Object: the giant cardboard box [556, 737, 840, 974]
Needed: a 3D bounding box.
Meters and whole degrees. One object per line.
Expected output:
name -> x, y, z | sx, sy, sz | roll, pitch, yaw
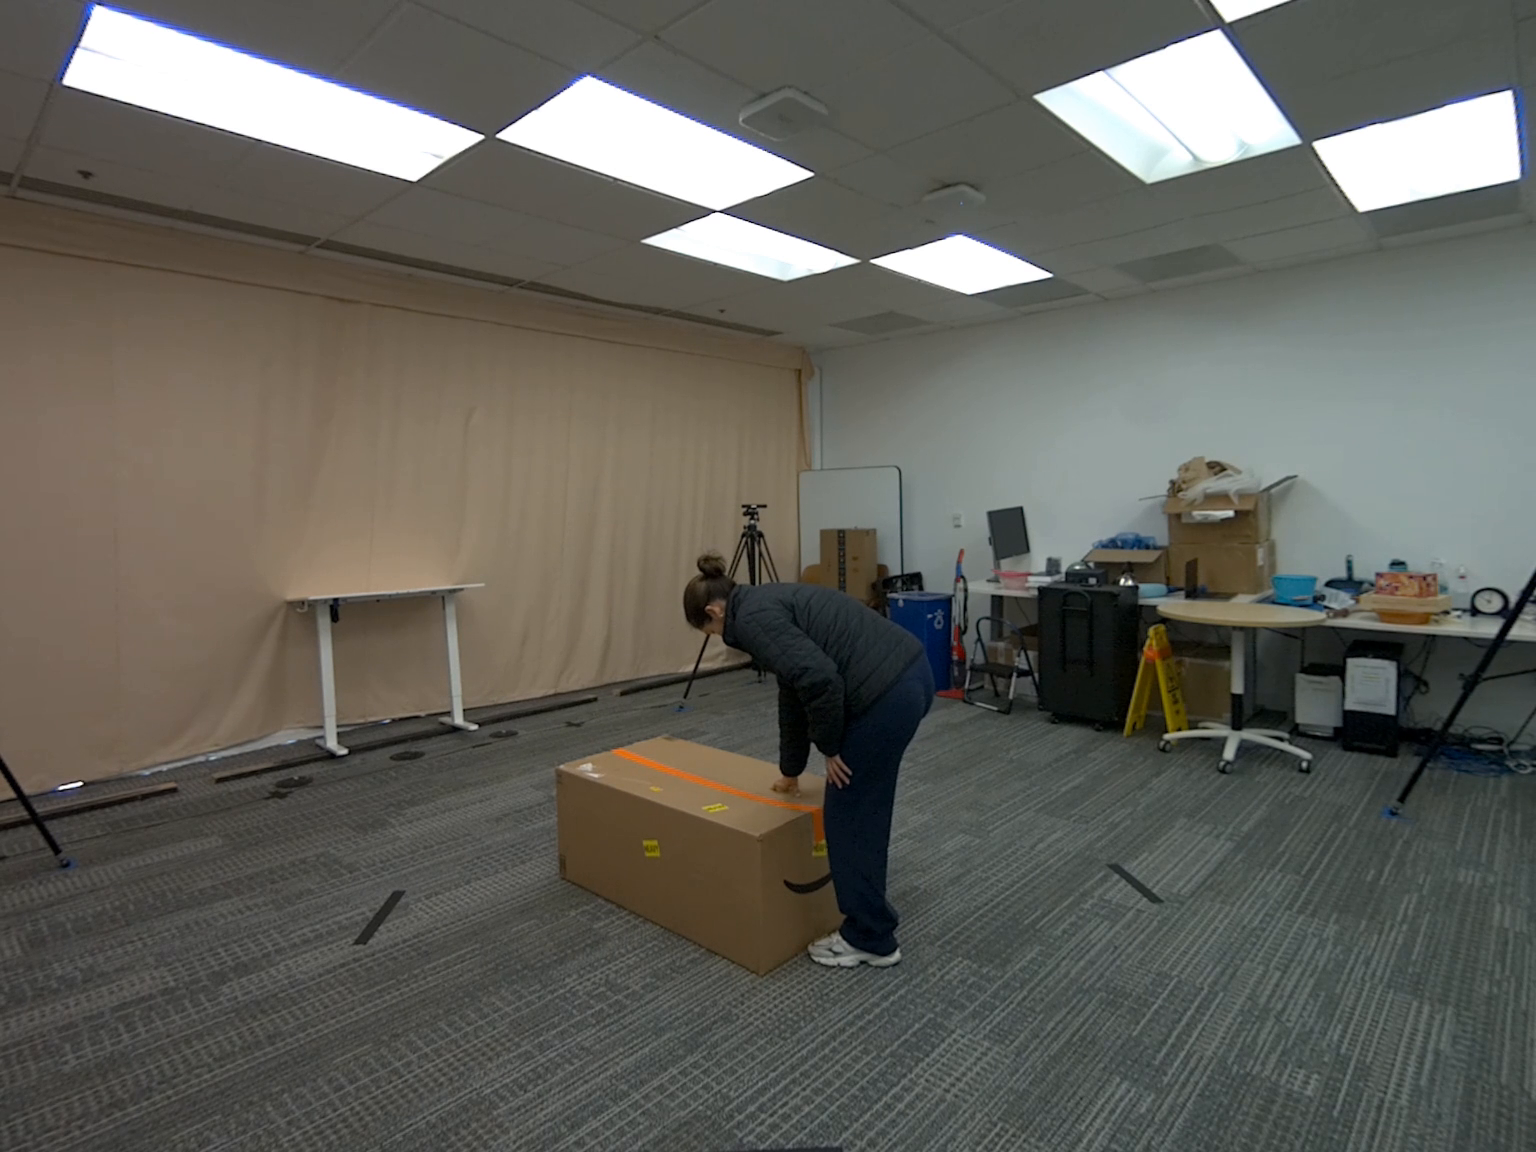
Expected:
giant cardboard box -> -0.213, 0.933, 3.032 | 1.061, 0.446, 0.566 | 2, 4, 42
